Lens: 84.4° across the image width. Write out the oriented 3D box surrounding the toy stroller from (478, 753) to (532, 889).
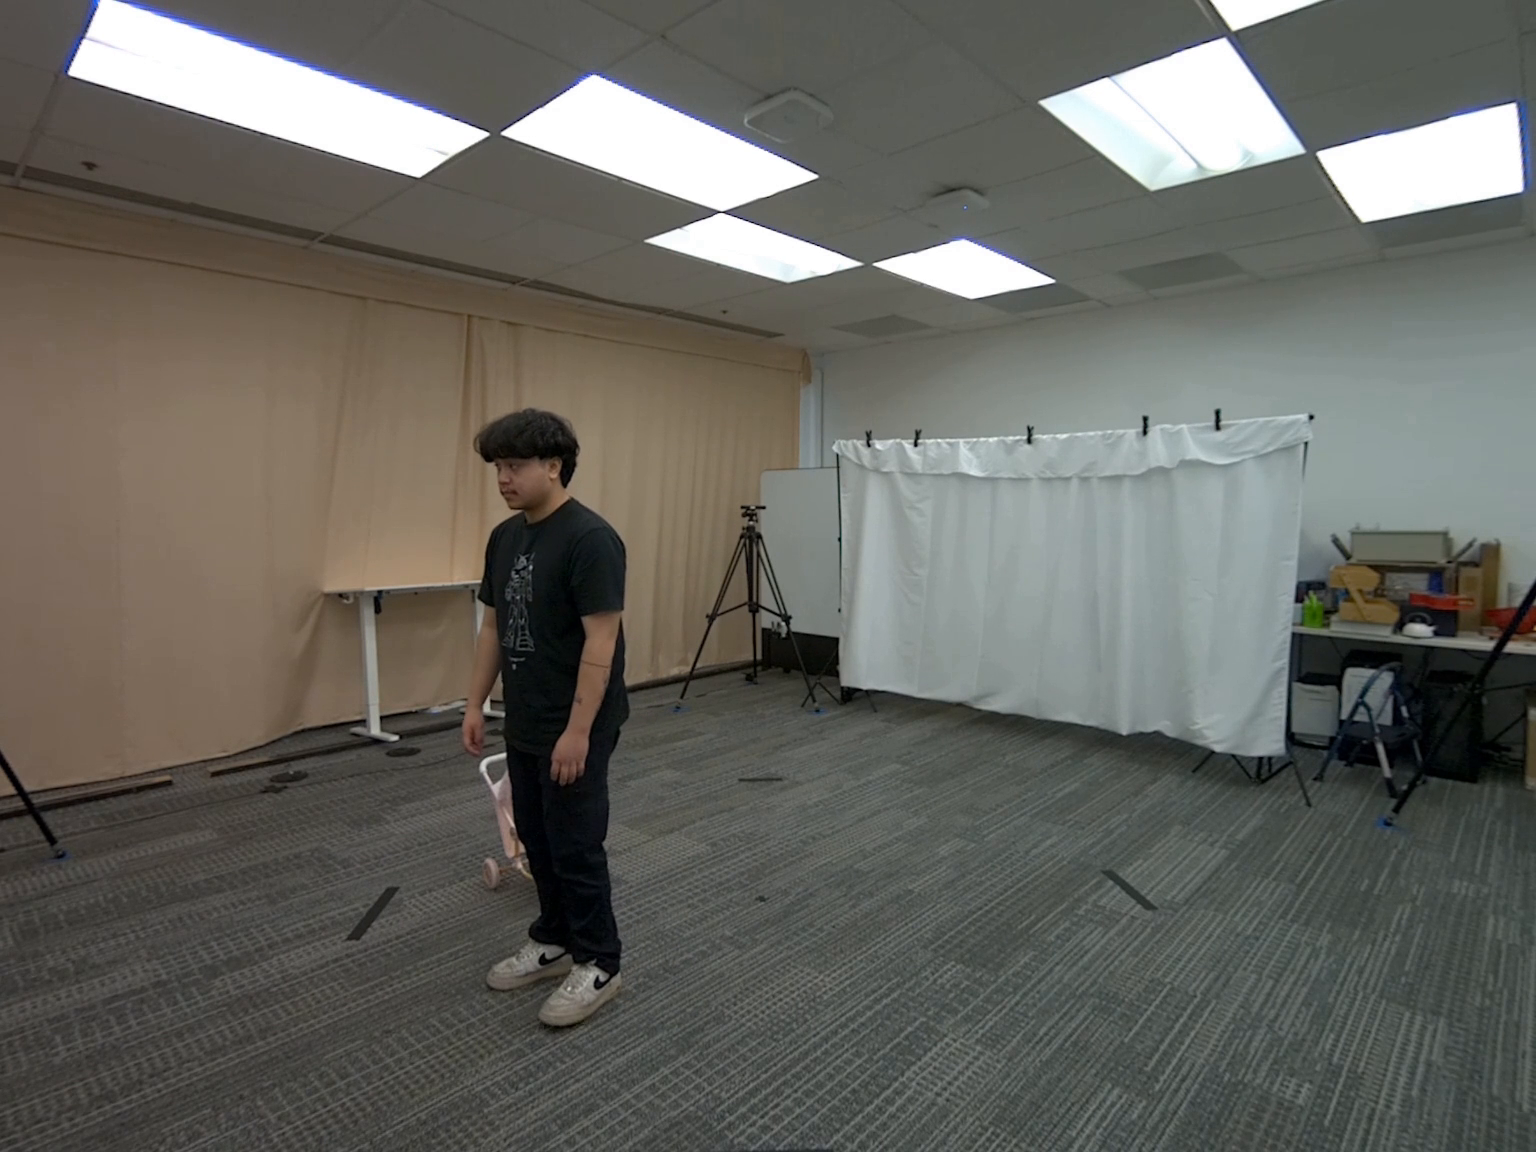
[{"bbox_3d":[-0.891,0.926,3.107,0.273,0.539,0.349,-3,-11,-39],"label":"toy stroller"}]
